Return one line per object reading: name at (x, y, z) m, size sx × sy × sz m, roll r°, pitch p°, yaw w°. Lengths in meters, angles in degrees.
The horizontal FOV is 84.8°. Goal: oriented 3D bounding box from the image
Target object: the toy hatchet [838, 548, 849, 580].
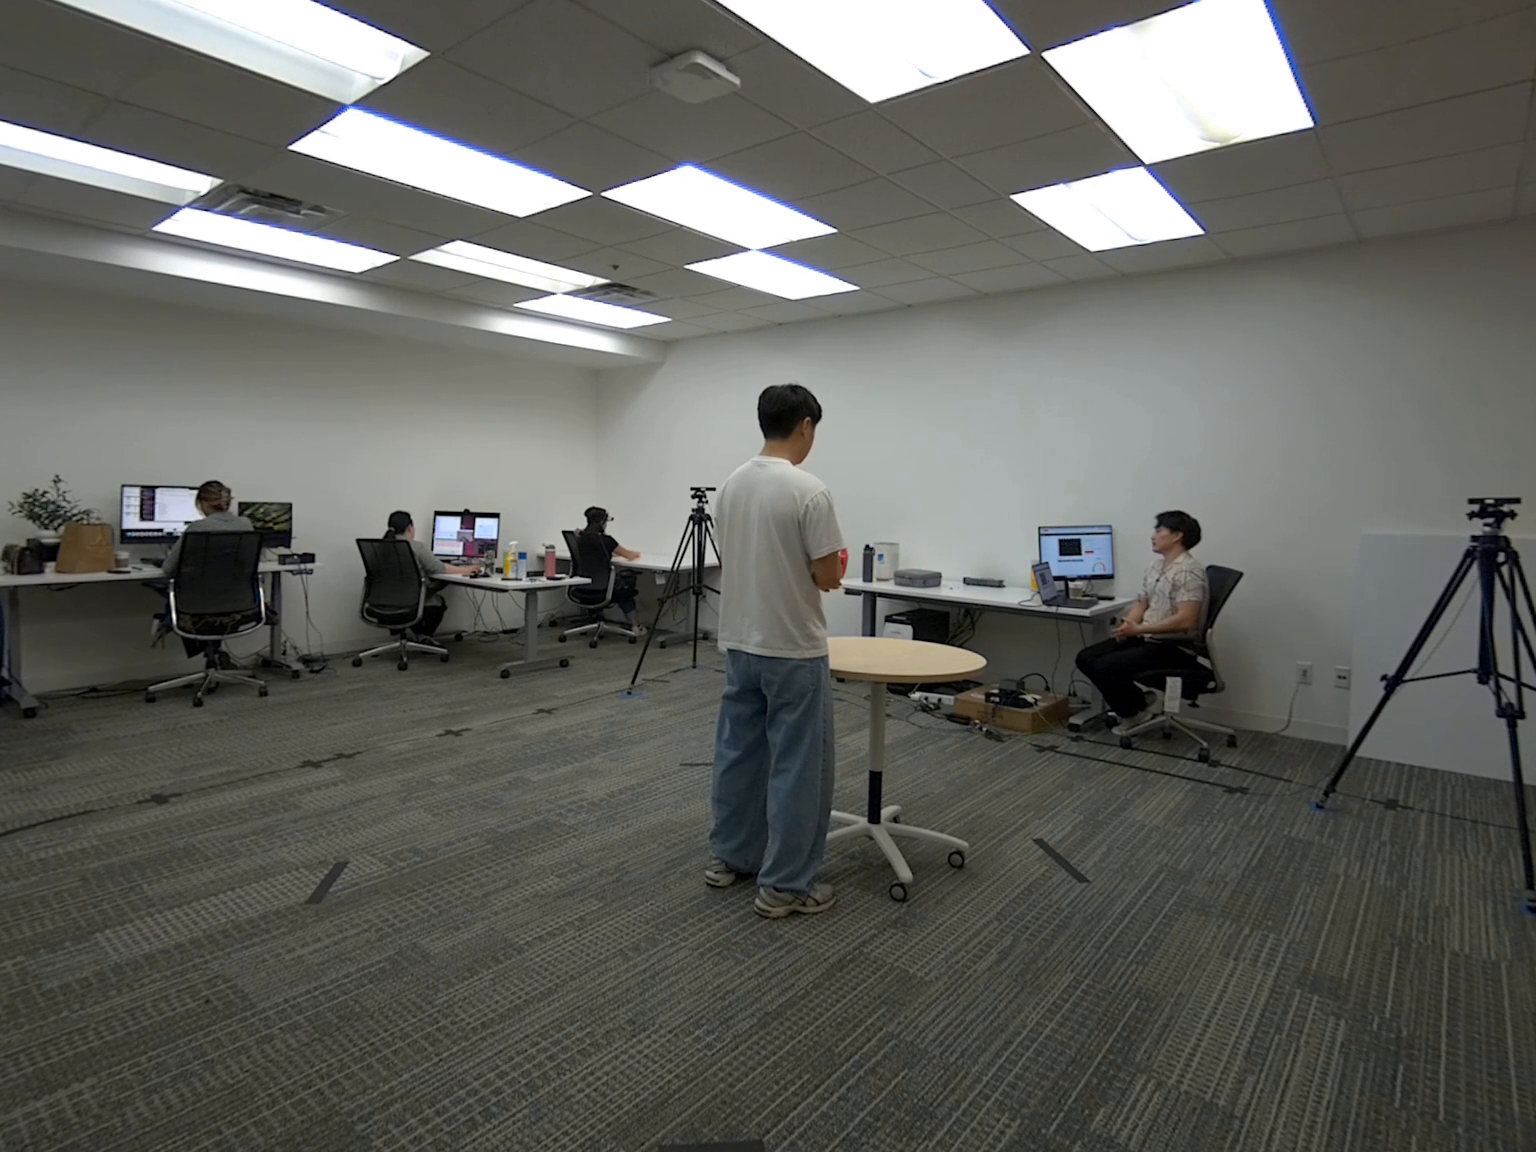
toy hatchet at (0.240, -0.004, 3.128) m, size 0.030 × 0.127 × 0.270 m, roll 8°, pitch 37°, yaw 27°
